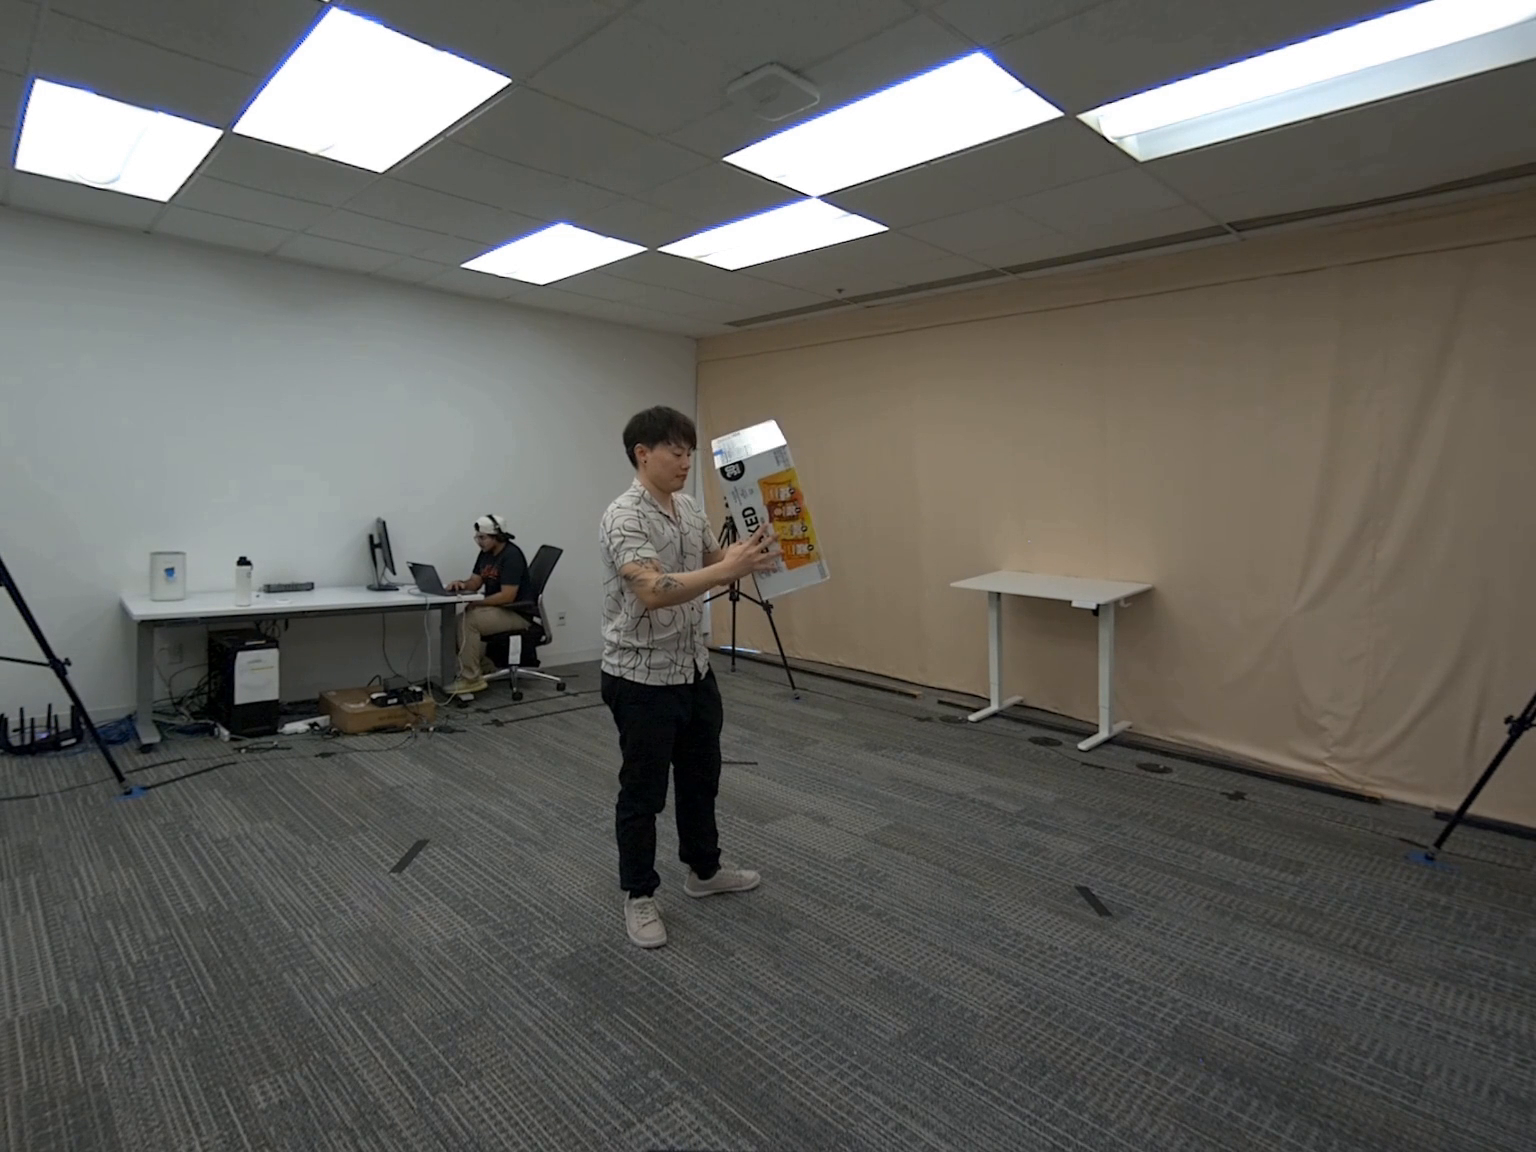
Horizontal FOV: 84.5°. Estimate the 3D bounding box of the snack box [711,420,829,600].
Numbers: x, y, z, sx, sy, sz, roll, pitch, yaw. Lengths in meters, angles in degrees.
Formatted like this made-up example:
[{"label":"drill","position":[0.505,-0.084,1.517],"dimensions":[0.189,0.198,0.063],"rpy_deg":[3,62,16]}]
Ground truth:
[{"label":"snack box","position":[-0.002,-0.198,2.428],"dimensions":[0.206,0.398,0.346],"rpy_deg":[-18,20,2]}]
